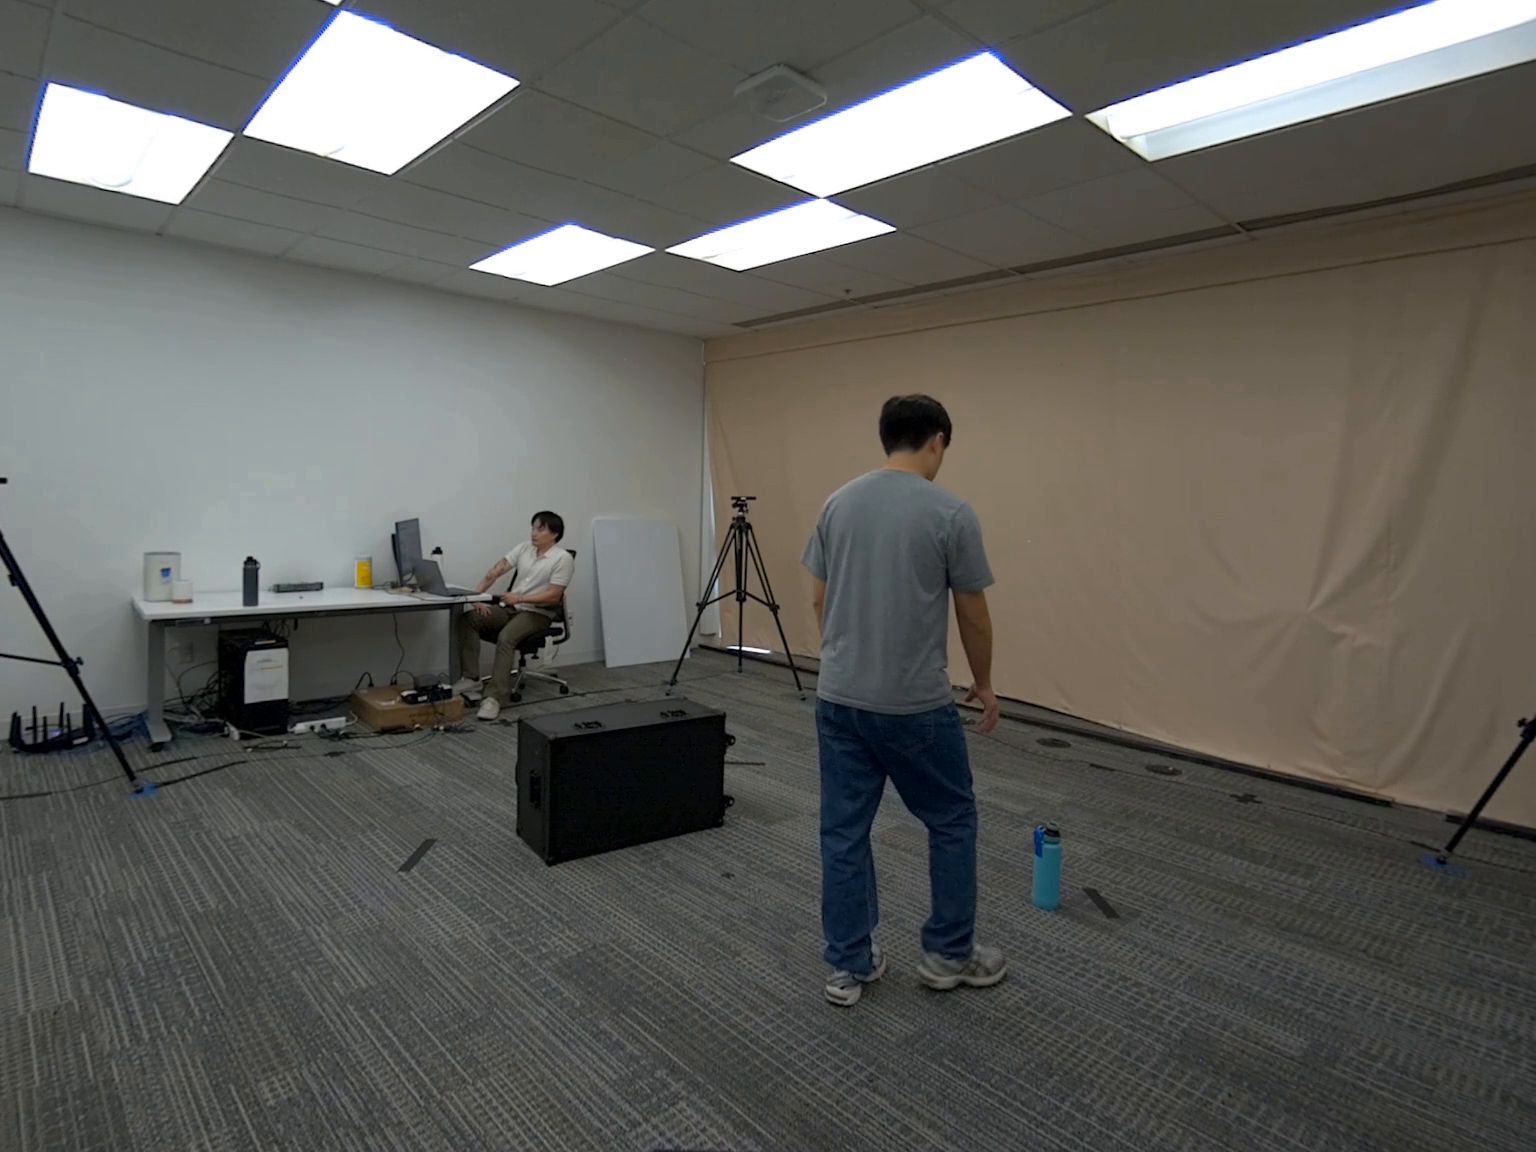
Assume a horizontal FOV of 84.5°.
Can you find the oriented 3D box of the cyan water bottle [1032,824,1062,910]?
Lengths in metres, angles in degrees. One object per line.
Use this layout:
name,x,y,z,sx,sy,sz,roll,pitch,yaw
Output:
cyan water bottle,0.973,1.011,2.946,0.092,0.282,0.093,1,4,-1
